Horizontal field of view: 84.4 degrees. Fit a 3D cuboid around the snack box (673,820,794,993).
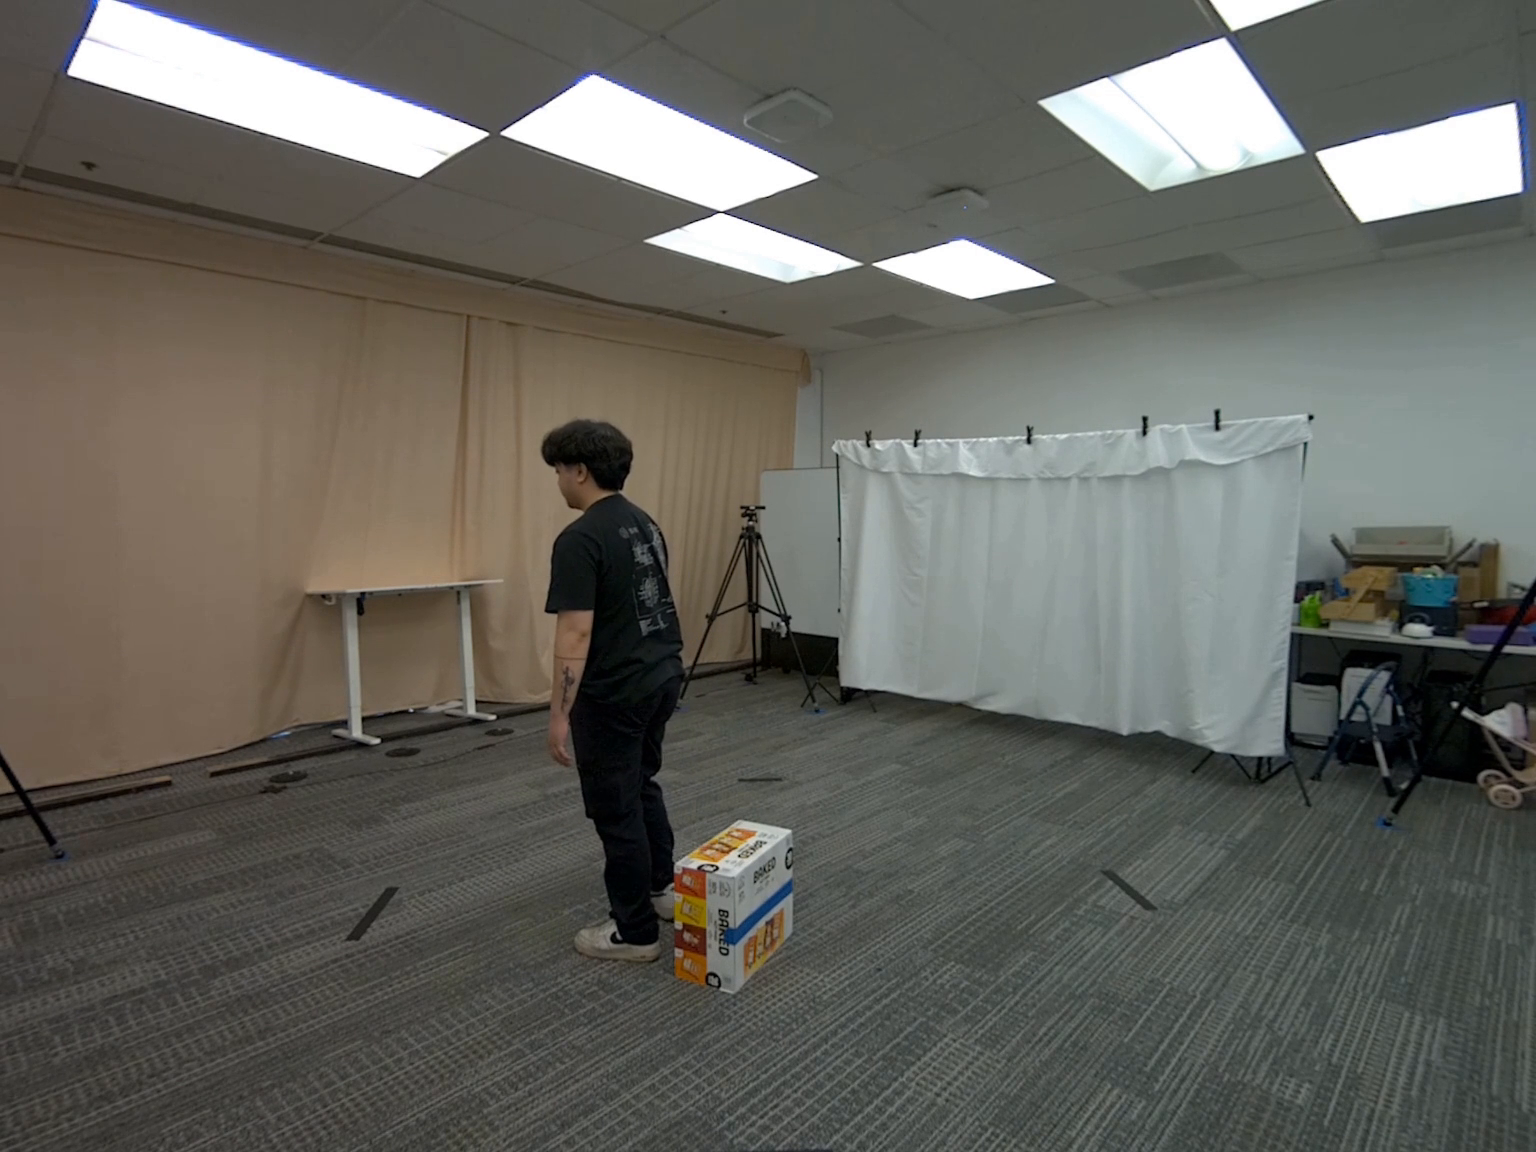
[{"bbox_3d":[-0.093,1.007,2.610,0.211,0.340,0.395,1,4,27],"label":"snack box"}]
